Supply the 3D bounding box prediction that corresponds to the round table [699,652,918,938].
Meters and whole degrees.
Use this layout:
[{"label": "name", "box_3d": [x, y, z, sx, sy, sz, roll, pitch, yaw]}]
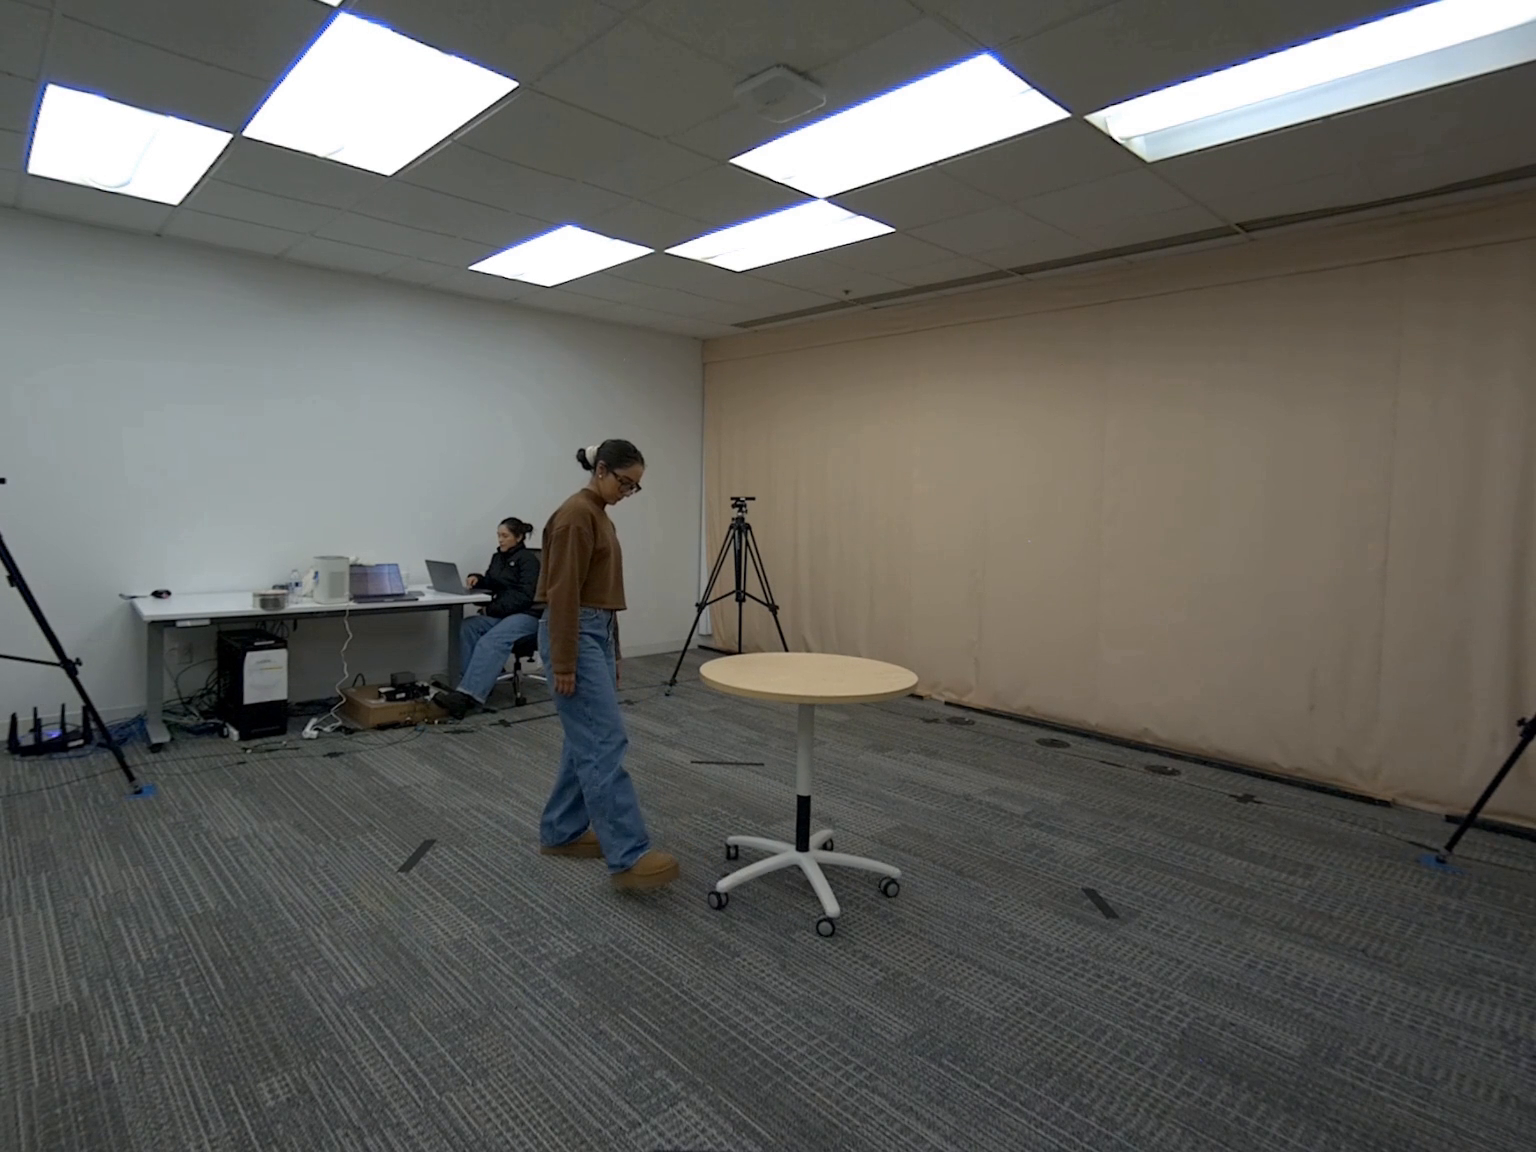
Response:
[{"label": "round table", "box_3d": [0.112, 0.732, 3.007, 0.763, 0.792, 0.766, 1, 4, -1]}]
